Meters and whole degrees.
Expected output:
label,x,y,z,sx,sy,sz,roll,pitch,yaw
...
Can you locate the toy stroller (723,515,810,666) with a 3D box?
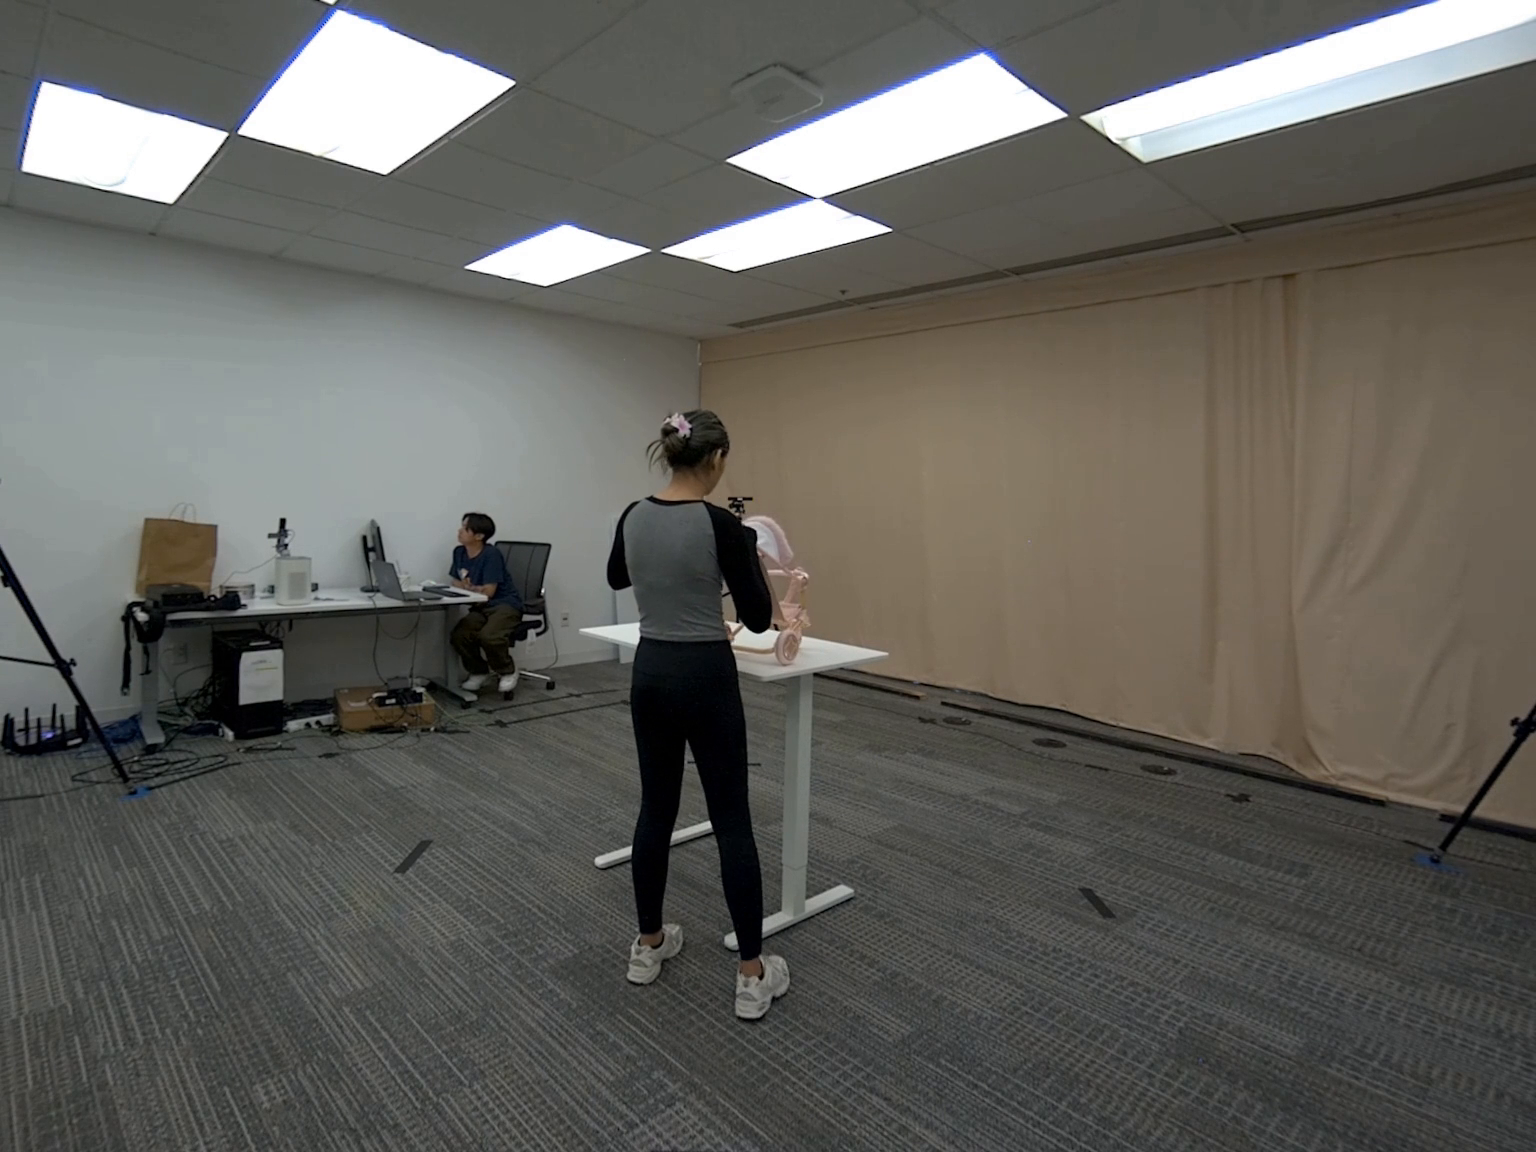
label,x,y,z,sx,sy,sz,roll,pitch,yaw
toy stroller,-0.014,0.044,2.715,0.288,0.527,0.338,5,22,38
